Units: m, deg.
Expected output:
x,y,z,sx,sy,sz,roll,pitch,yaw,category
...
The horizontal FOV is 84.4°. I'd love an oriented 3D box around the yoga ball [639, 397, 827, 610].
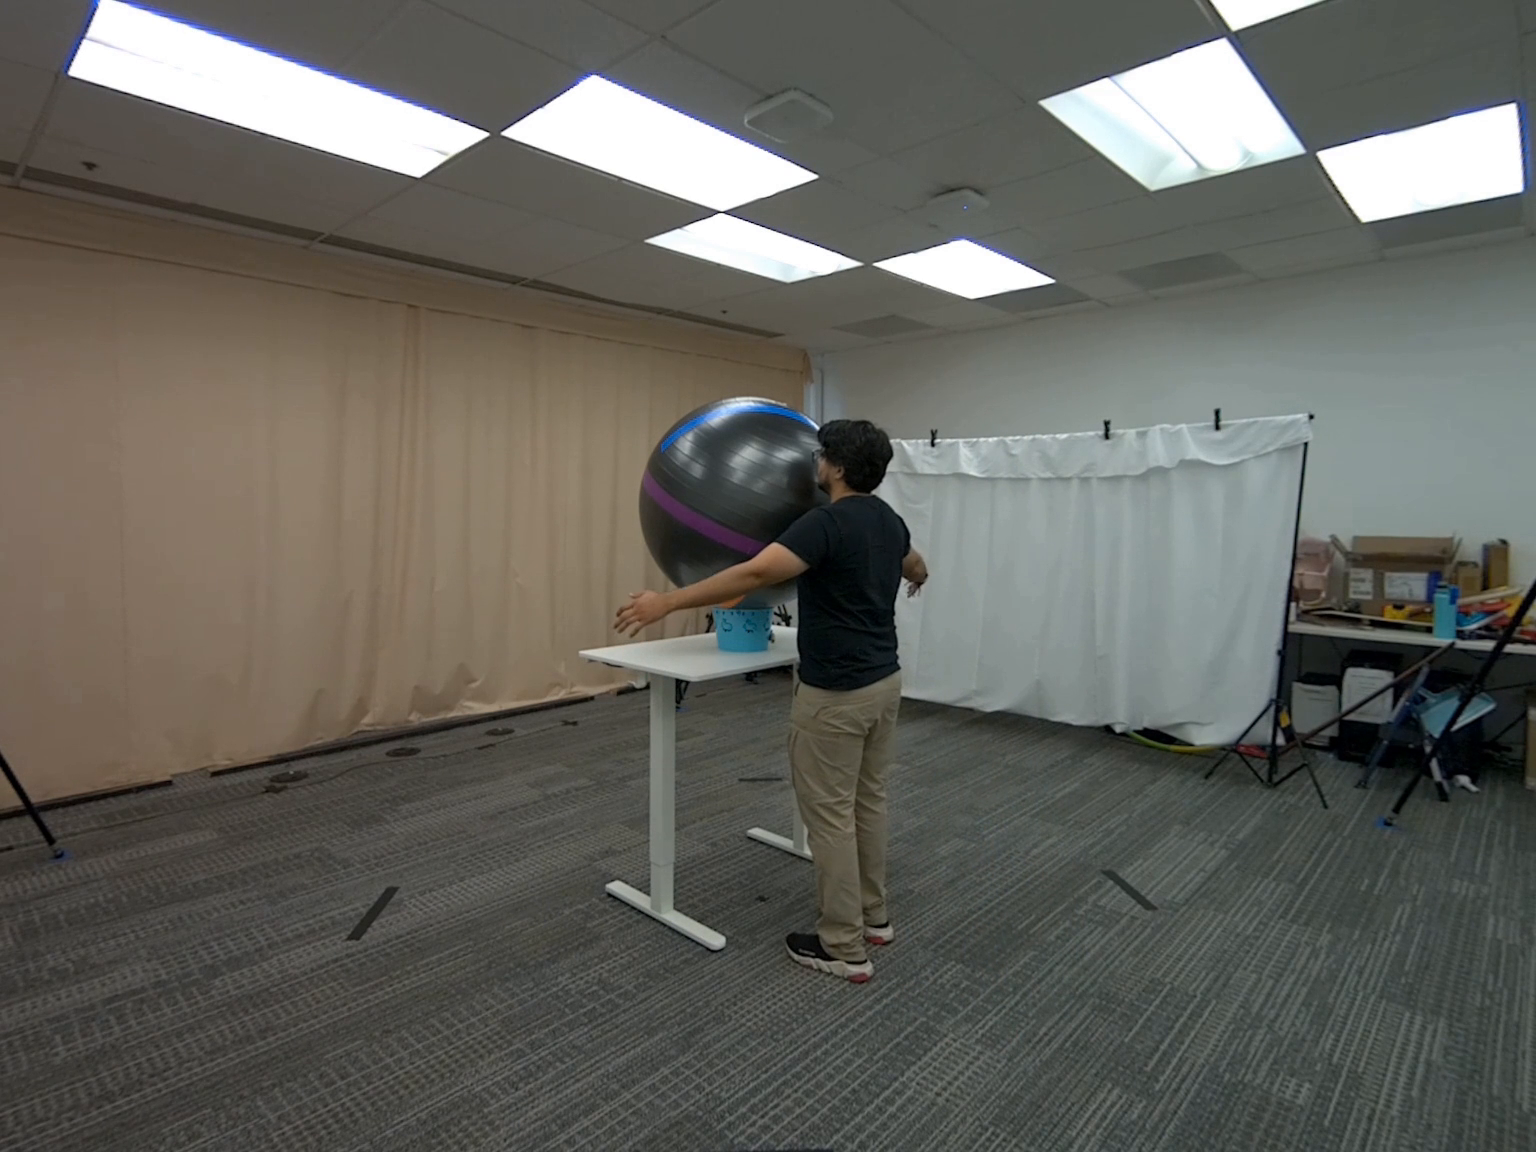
x,y,z,sx,sy,sz,roll,pitch,yaw,category
-0.079,-0.251,2.997,0.757,0.756,0.760,0,4,-2,yoga ball
